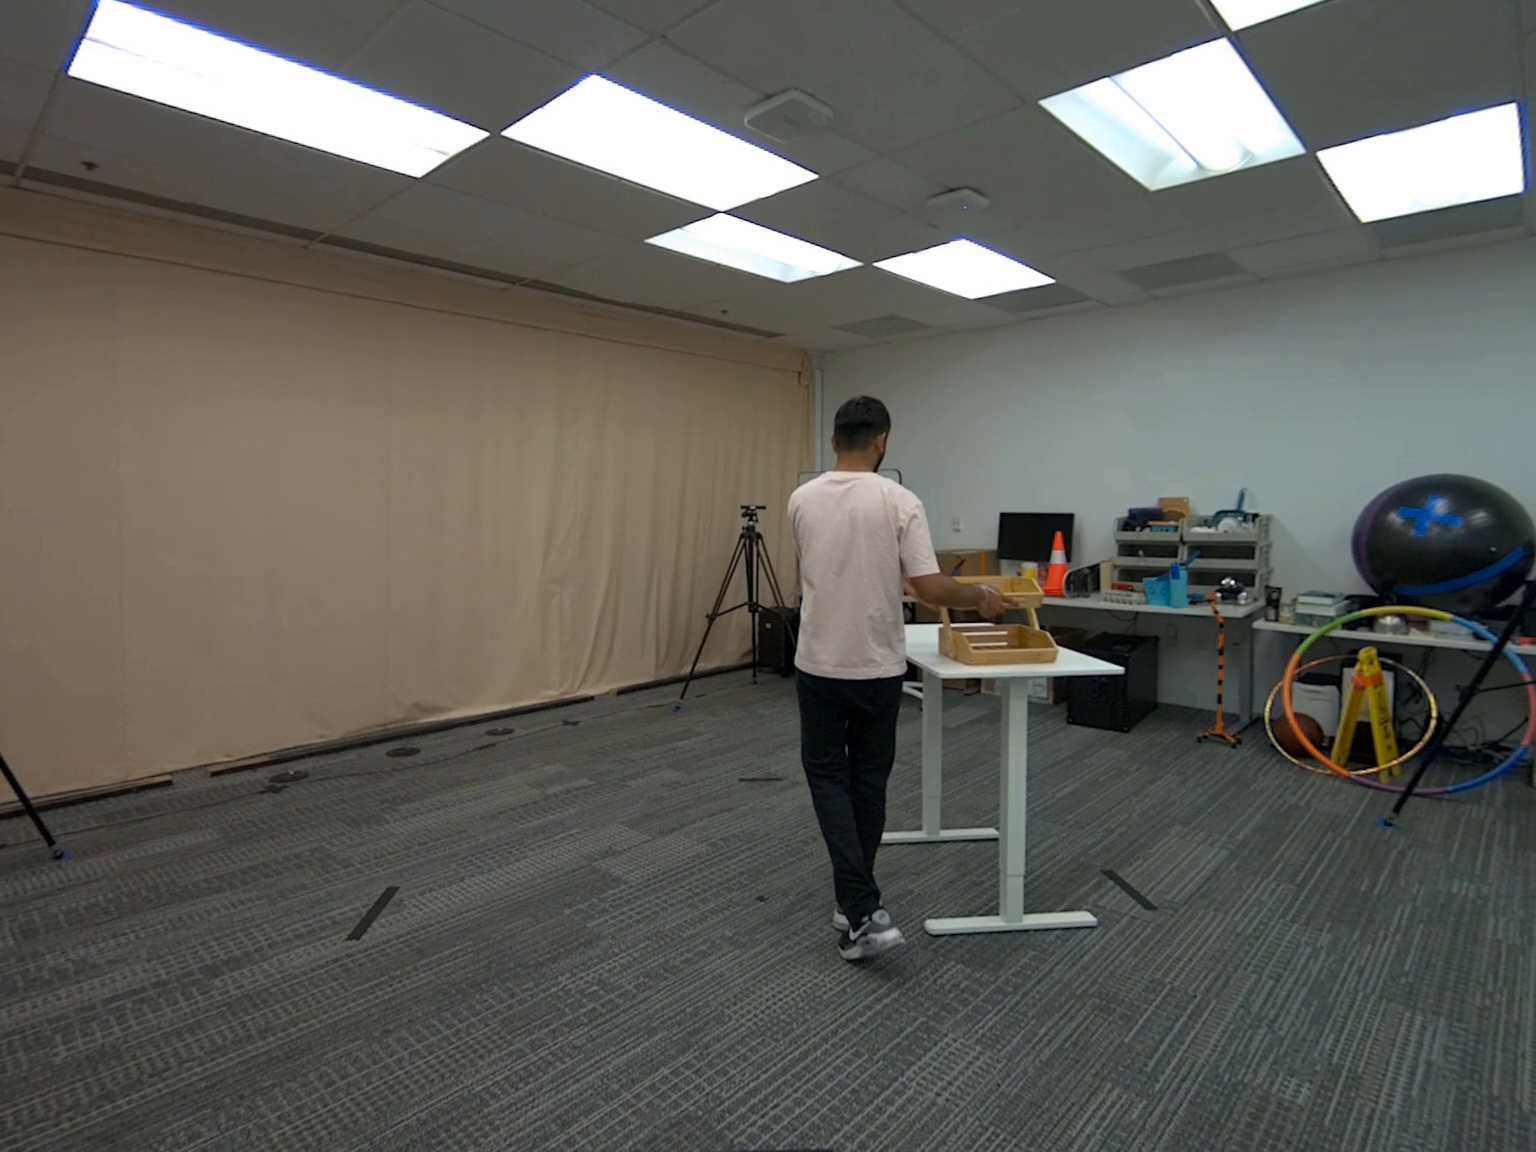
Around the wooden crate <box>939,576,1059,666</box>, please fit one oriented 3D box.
[{"bbox_3d":[0.772,0.148,2.812,0.321,0.272,0.306,-1,5,-10],"label":"wooden crate"}]
